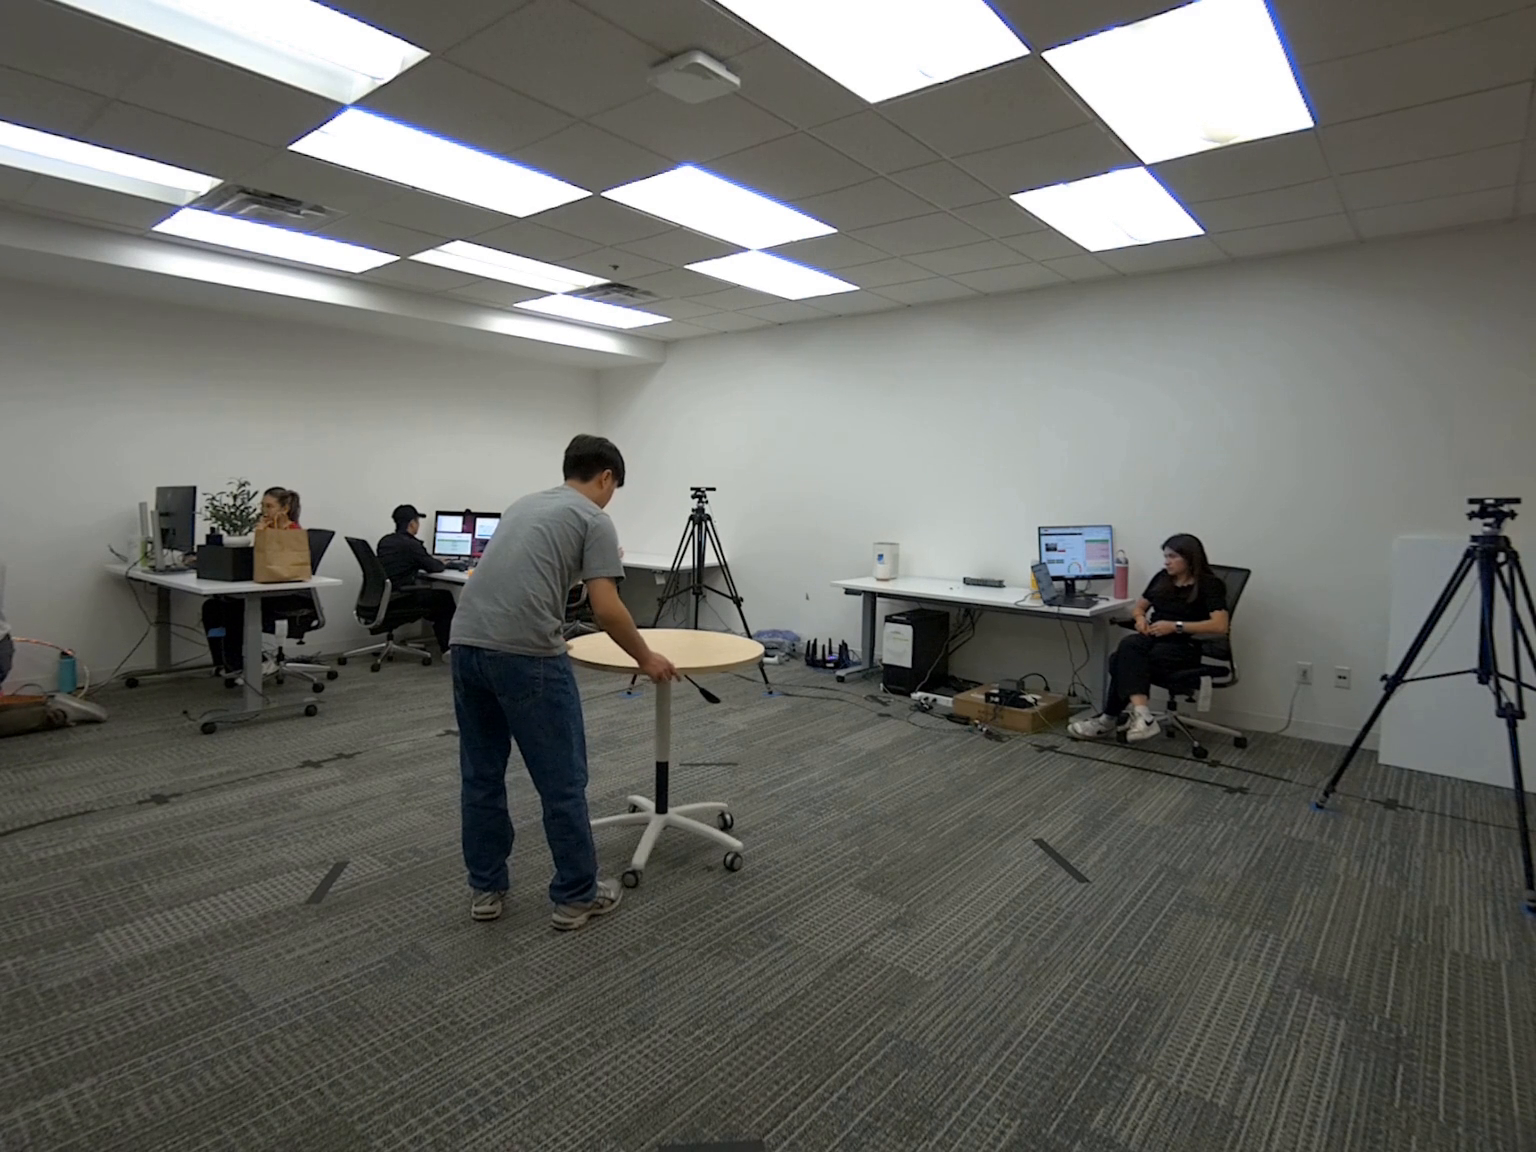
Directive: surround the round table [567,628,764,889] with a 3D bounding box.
[{"bbox_3d":[-0.415,0.657,3.256,0.763,0.791,0.768,1,4,-2],"label":"round table"}]
